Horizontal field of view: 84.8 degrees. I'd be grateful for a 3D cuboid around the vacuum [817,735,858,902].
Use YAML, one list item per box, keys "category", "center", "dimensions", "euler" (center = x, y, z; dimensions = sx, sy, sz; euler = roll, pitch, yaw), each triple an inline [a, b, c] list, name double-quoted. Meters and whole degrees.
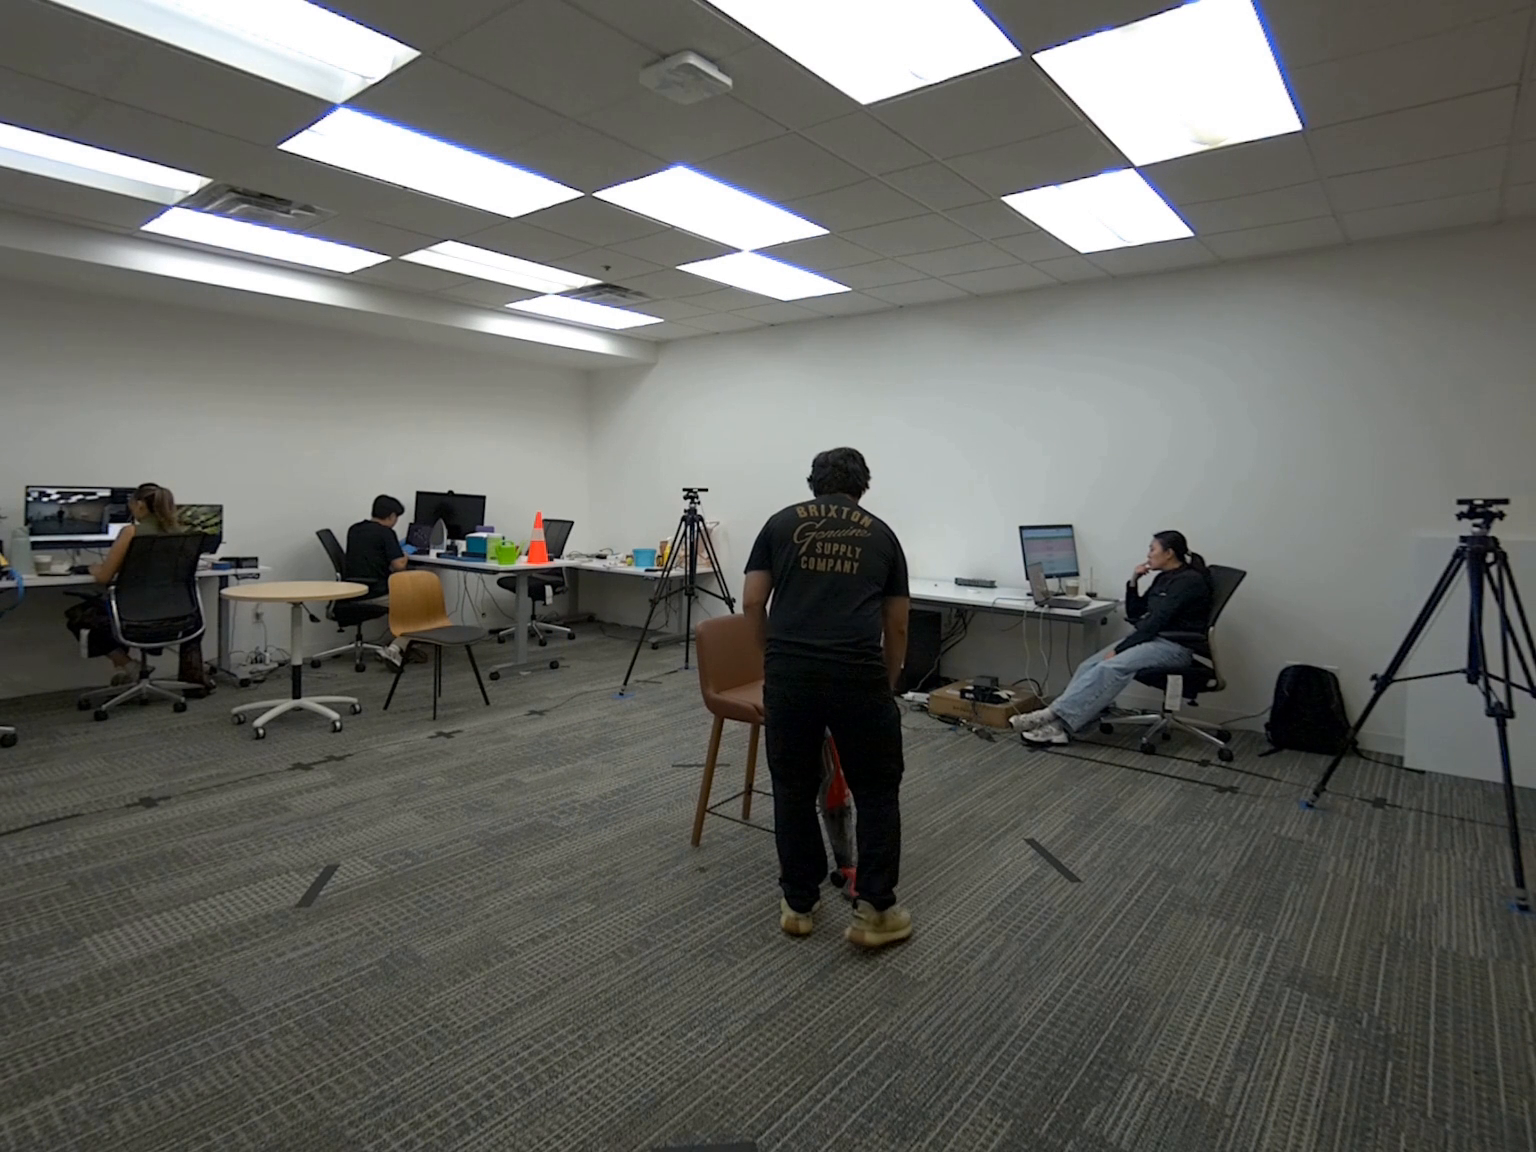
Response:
- category: "vacuum"
  center: [0.193, 0.585, 3.109]
  dimensions: [0.146, 1.064, 0.245]
  euler: [-23, -15, 38]
